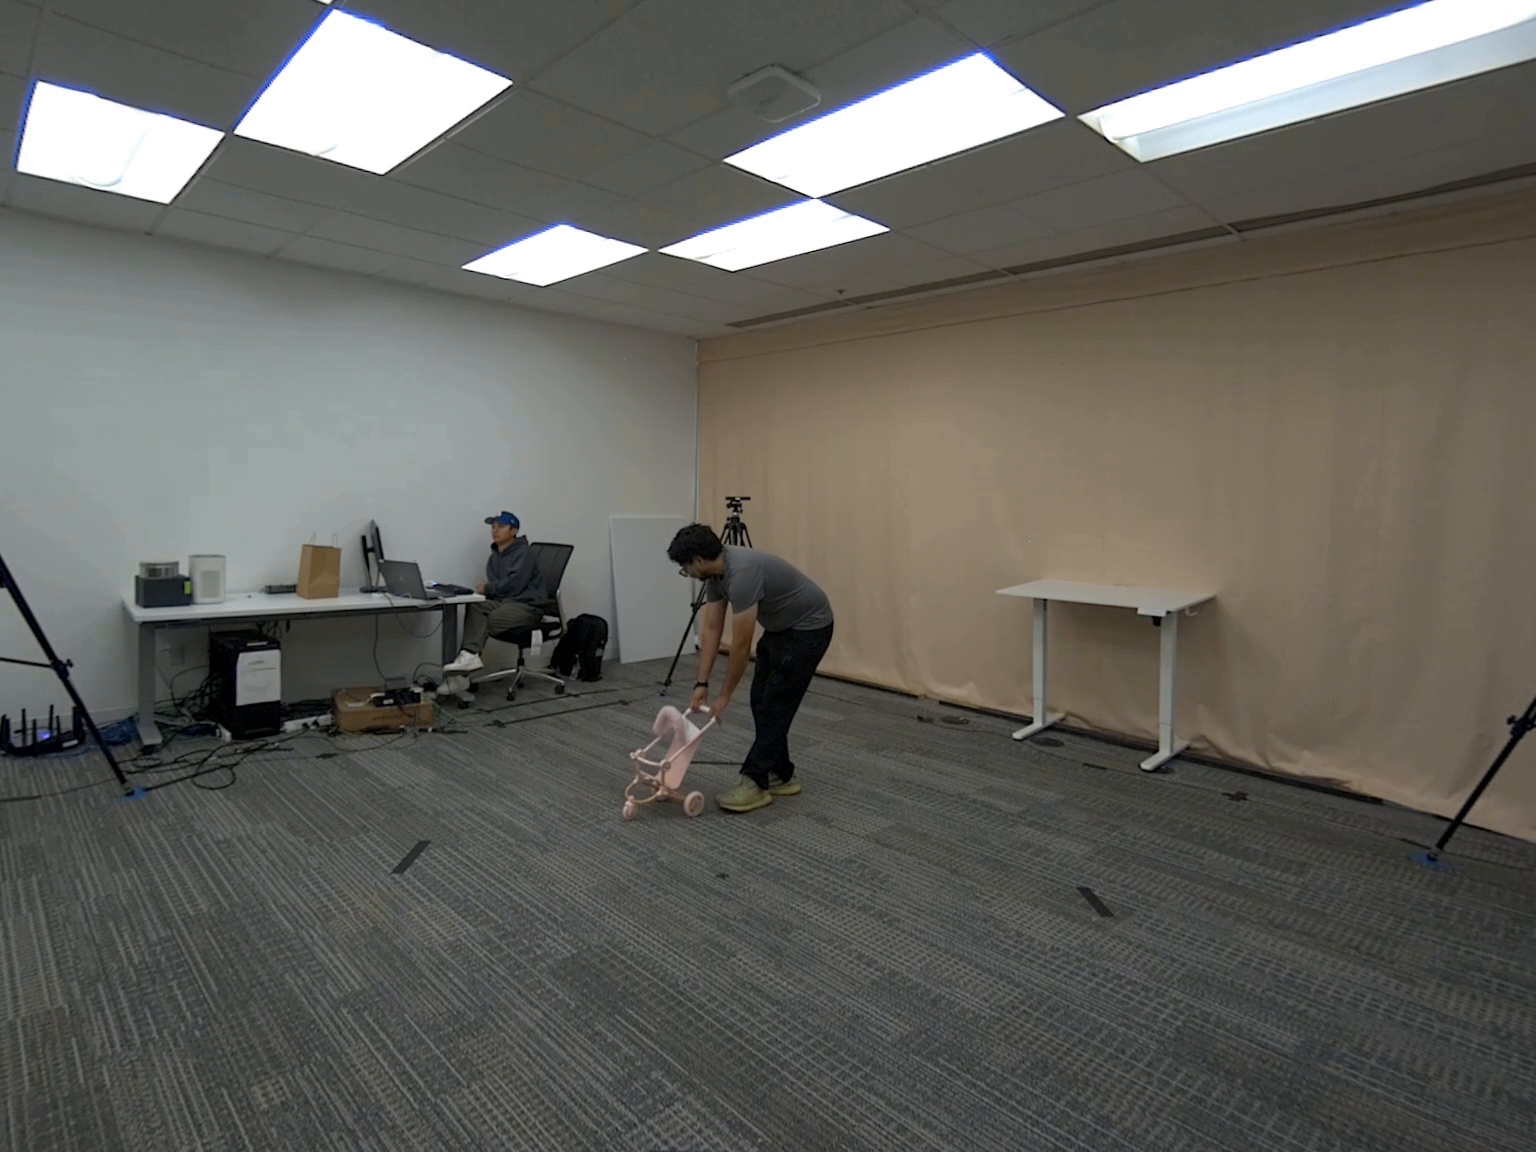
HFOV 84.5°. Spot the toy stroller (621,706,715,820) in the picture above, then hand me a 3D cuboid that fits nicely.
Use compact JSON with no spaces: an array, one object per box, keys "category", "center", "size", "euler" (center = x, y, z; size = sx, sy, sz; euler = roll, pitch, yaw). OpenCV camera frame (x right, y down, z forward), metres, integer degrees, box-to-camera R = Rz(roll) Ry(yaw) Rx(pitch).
[{"category":"toy stroller","center":[-0.458,0.819,3.730],"size":[0.332,0.537,0.288],"euler":[18,-7,-36]}]
